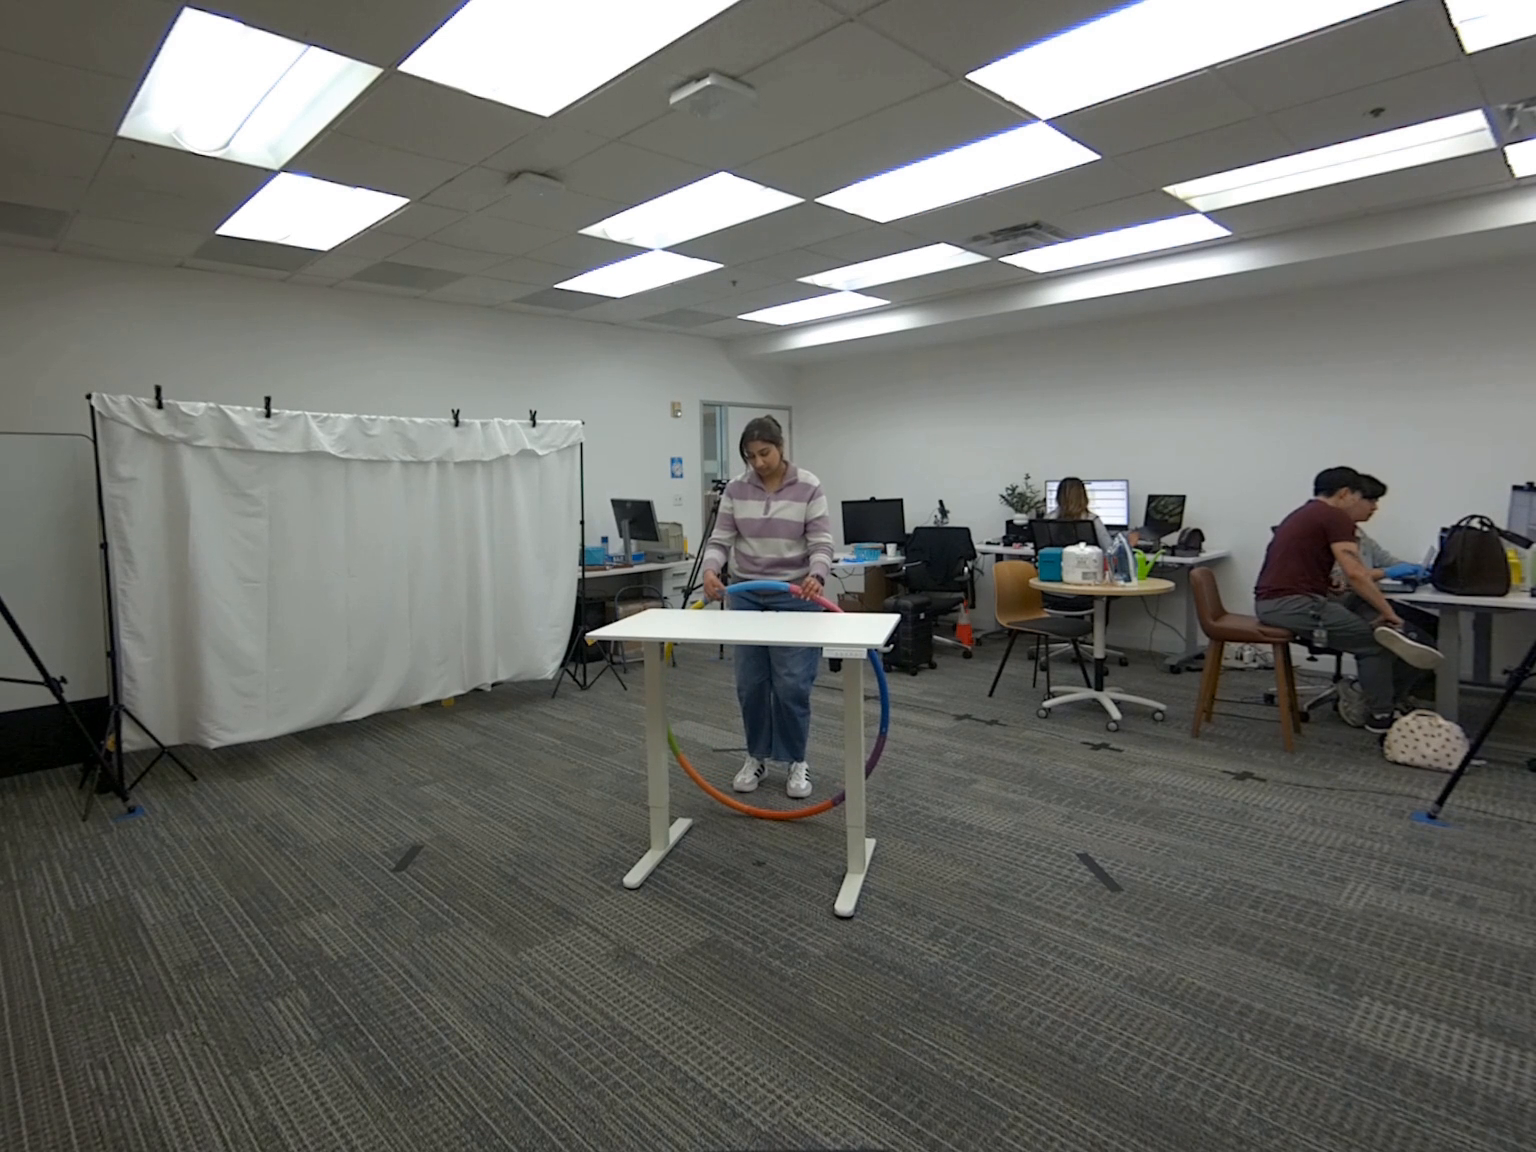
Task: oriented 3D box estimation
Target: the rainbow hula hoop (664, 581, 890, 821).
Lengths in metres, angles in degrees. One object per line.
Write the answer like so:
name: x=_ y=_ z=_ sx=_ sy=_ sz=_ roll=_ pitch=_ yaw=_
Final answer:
rainbow hula hoop: x=0.006 y=0.514 z=3.473 sx=0.995 sy=0.972 sz=0.035 roll=1 pitch=7 yaw=18
